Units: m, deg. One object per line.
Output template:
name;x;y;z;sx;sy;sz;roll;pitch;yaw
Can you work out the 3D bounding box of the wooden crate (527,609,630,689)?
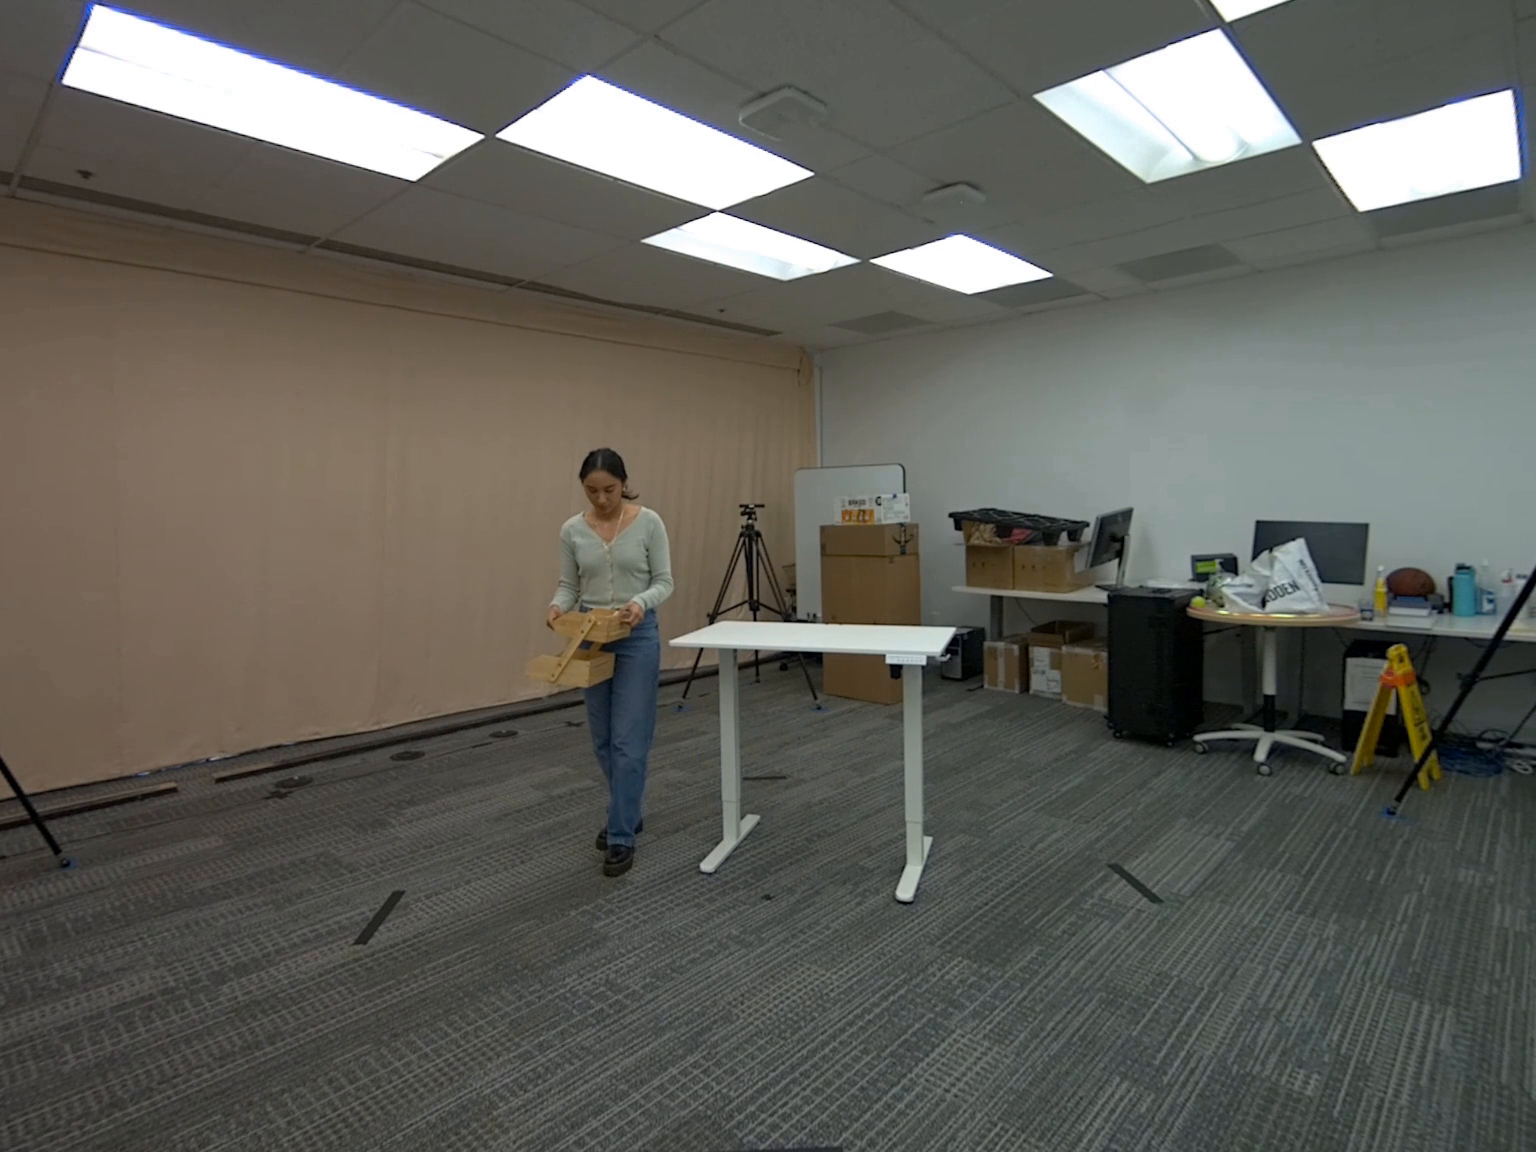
wooden crate;-0.713;0.249;3.149;0.305;0.273;0.321;7;1;8
